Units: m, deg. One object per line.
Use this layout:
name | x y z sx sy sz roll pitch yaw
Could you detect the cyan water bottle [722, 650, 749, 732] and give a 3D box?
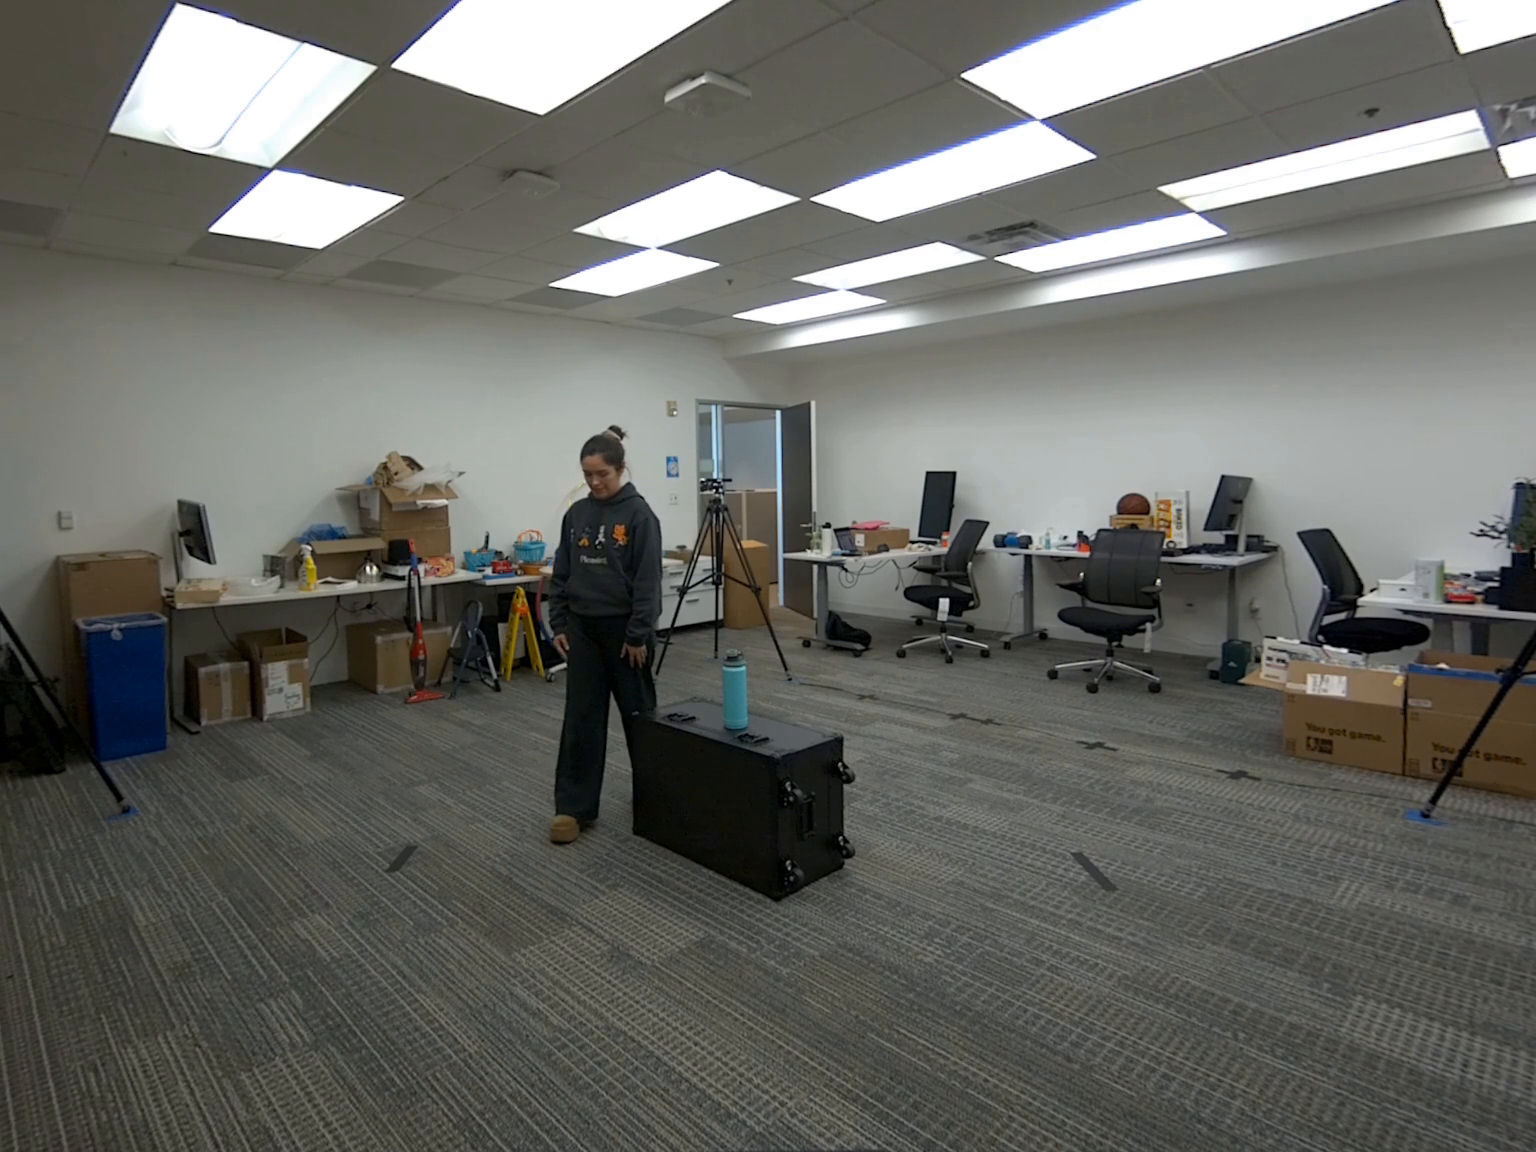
cyan water bottle | -0.121 0.417 3.158 0.092 0.283 0.092 -1 1 -2
